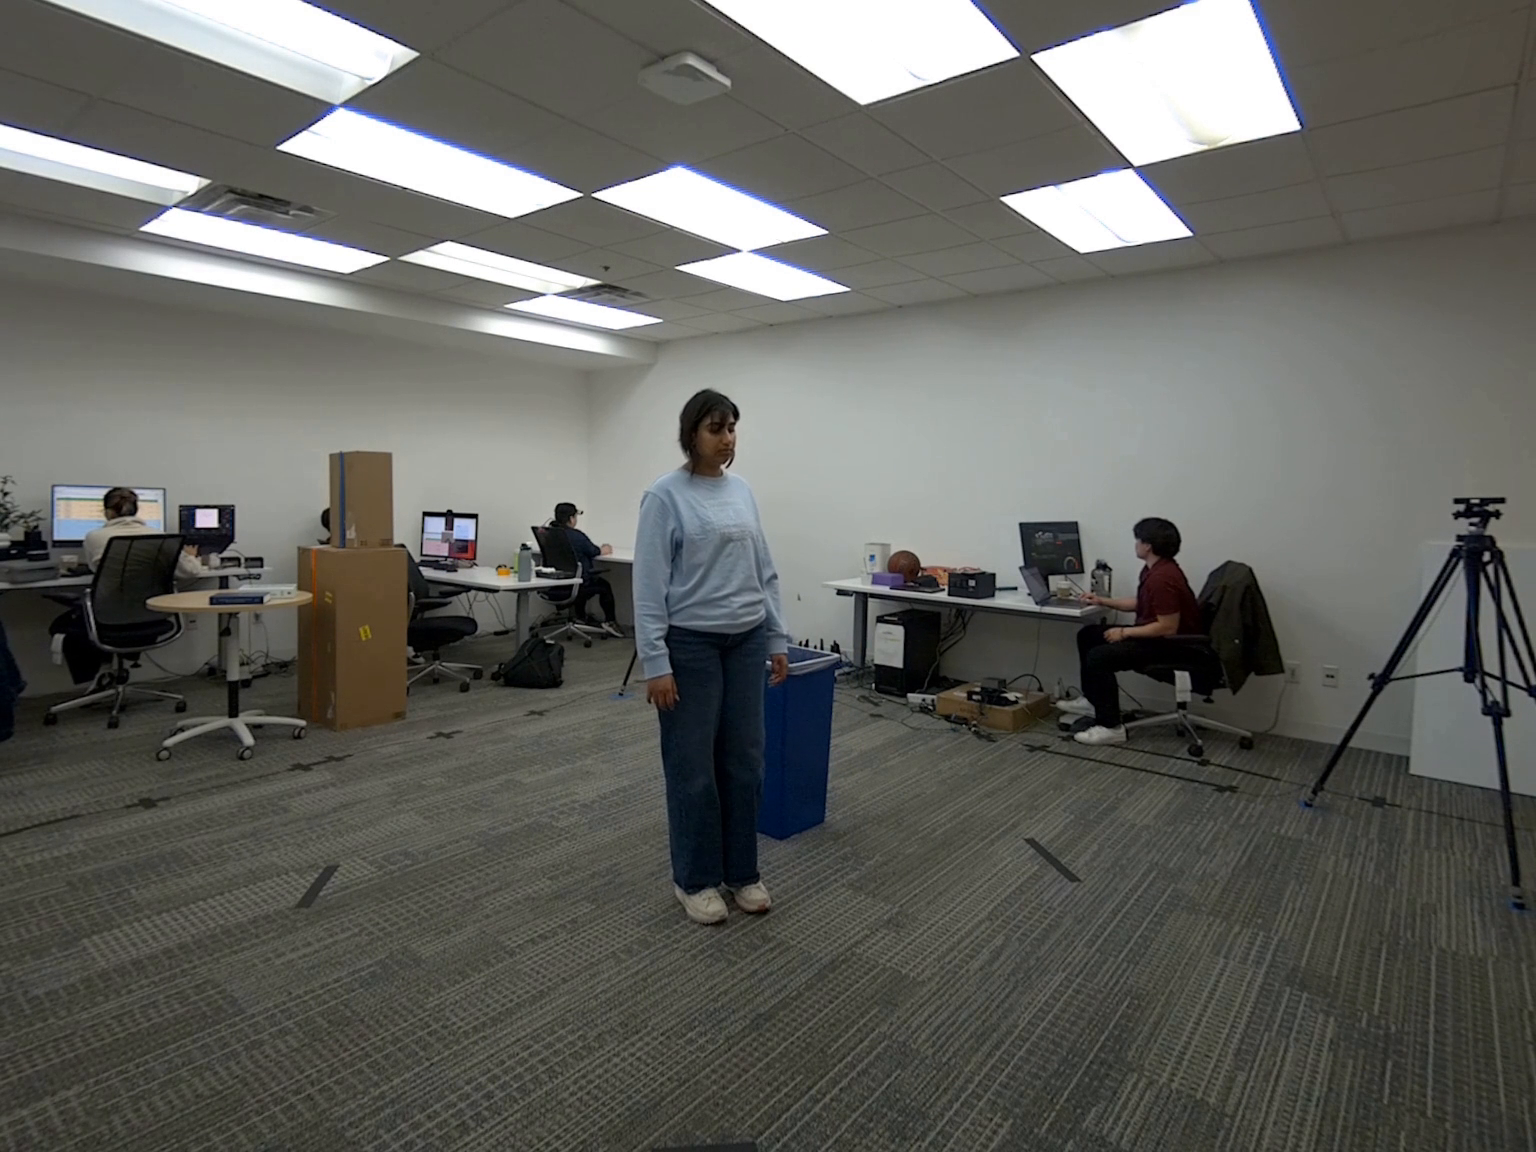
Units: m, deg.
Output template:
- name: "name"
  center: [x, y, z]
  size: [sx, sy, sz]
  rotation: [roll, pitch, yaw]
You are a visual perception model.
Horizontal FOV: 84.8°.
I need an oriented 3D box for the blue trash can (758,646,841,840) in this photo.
- name: "blue trash can"
  center: [0.045, 0.673, 3.564]
  size: [0.387, 0.711, 0.367]
  rotation: [4, 5, 42]
